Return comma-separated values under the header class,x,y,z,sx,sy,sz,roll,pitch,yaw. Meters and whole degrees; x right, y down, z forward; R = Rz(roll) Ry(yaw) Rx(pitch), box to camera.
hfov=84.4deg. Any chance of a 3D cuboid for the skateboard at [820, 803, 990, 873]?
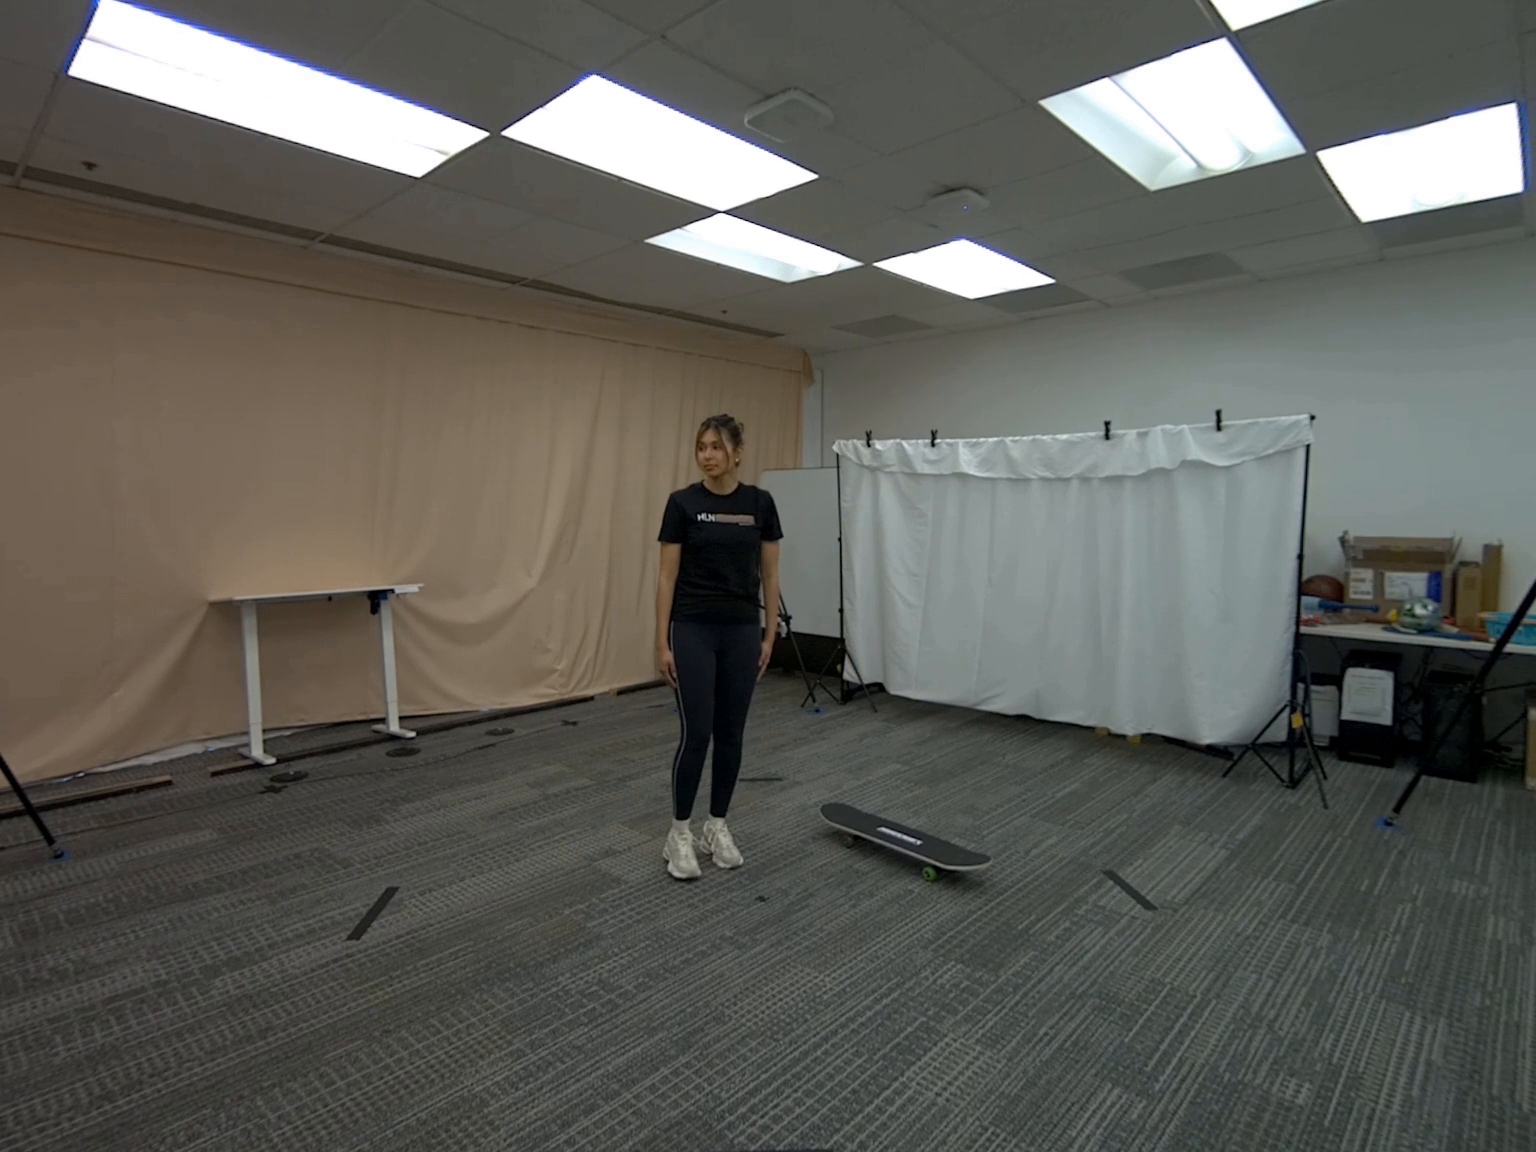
class,x,y,z,sx,sy,sz,roll,pitch,yaw
skateboard,0.521,1.055,3.327,0.188,0.110,0.812,-5,7,-41
